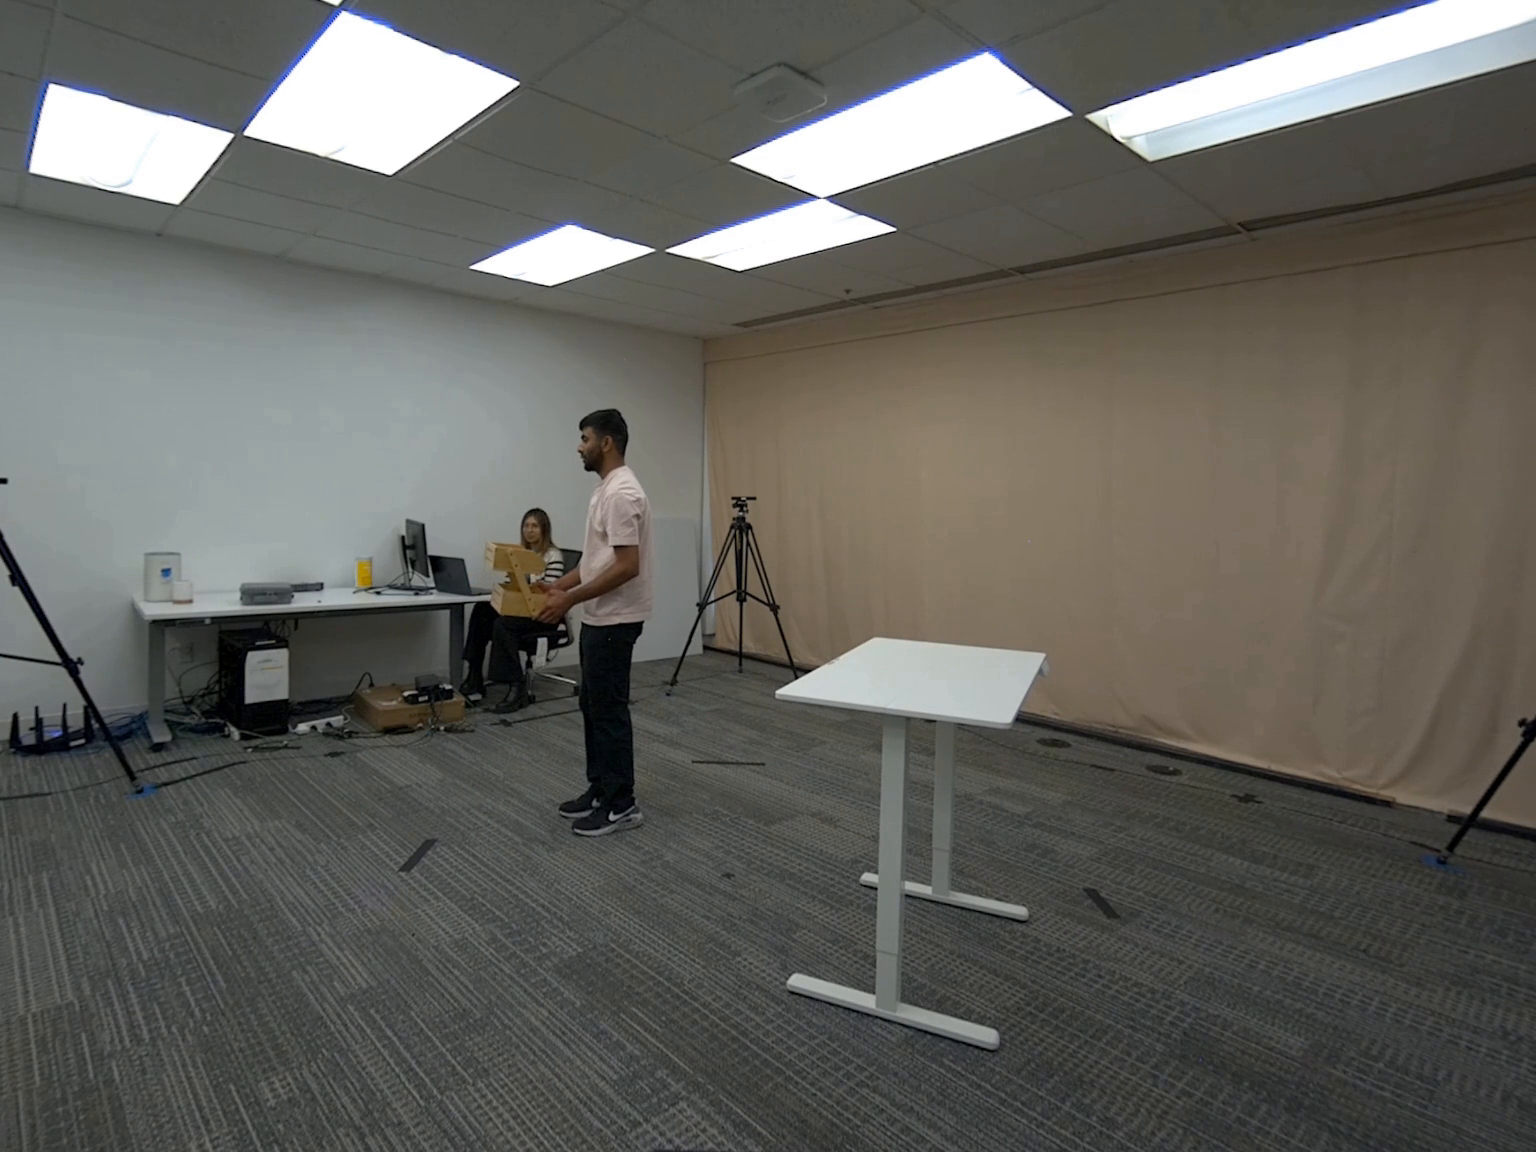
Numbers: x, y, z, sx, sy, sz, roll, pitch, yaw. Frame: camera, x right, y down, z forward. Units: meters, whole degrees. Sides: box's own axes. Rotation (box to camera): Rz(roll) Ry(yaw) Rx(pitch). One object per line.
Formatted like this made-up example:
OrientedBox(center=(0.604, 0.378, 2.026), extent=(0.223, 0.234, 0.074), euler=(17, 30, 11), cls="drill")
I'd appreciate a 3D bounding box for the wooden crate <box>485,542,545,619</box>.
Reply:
OrientedBox(center=(-0.995, 0.011, 3.437), extent=(0.296, 0.273, 0.331), euler=(5, 3, -24), cls="wooden crate")
